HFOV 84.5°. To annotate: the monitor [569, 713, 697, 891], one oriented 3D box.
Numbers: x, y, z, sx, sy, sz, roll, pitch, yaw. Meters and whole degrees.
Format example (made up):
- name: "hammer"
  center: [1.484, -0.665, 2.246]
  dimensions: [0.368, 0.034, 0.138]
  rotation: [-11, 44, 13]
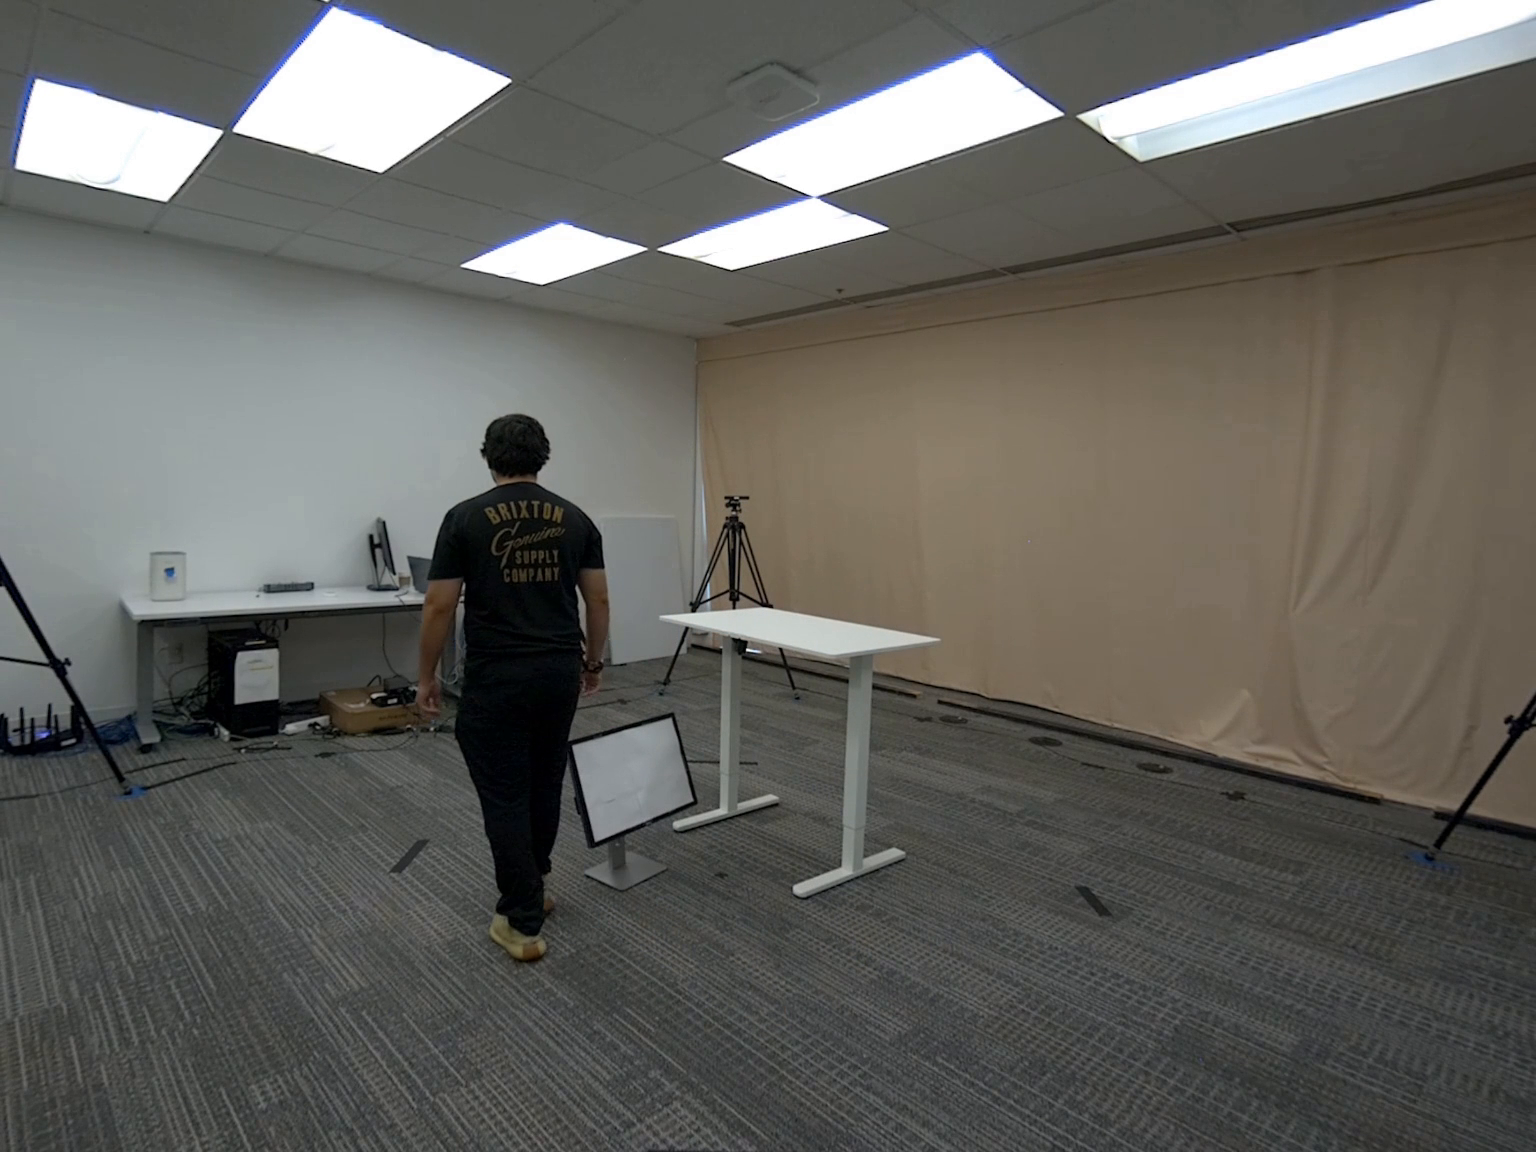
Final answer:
- name: "monitor"
  center: [-0.544, 0.828, 3.108]
  dimensions: [0.214, 0.555, 0.553]
  rotation: [-8, -2, 35]
